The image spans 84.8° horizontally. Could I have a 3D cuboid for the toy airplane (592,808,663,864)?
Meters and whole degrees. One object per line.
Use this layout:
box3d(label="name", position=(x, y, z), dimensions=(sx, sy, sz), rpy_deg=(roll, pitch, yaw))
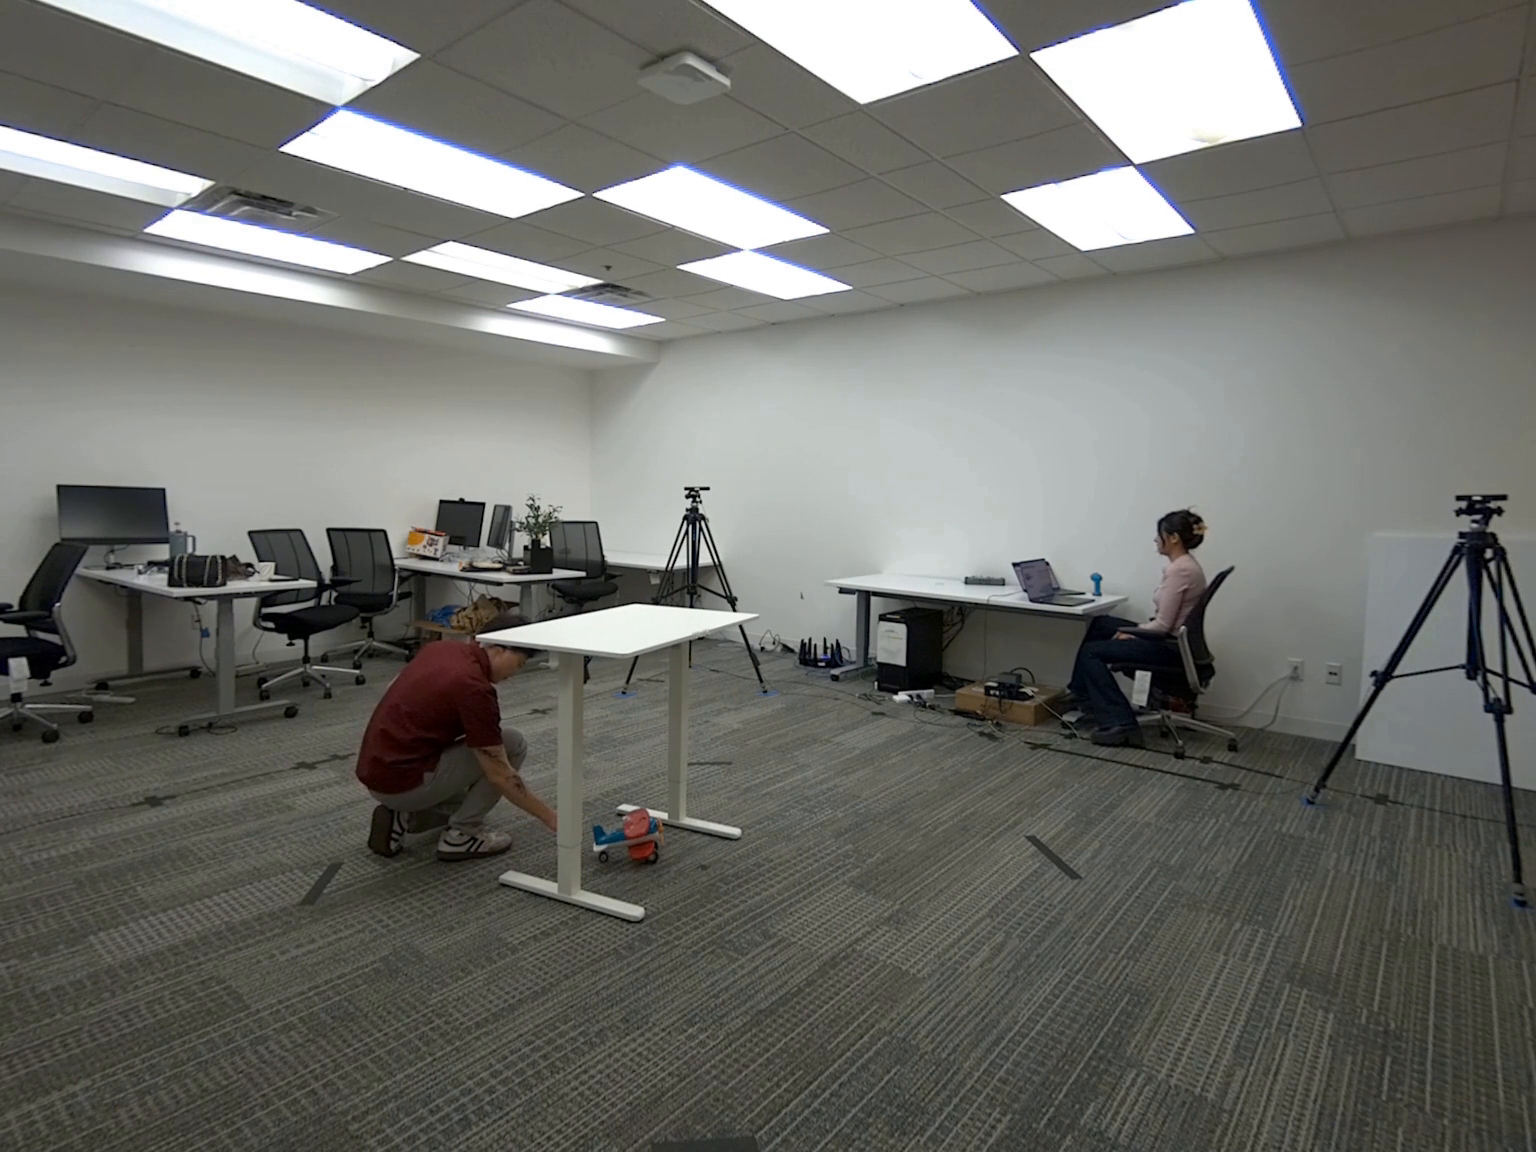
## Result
box3d(label="toy airplane", position=(-0.534, 0.989, 3.156), dimensions=(0.252, 0.156, 0.259), rpy_deg=(-1, 5, -34))
